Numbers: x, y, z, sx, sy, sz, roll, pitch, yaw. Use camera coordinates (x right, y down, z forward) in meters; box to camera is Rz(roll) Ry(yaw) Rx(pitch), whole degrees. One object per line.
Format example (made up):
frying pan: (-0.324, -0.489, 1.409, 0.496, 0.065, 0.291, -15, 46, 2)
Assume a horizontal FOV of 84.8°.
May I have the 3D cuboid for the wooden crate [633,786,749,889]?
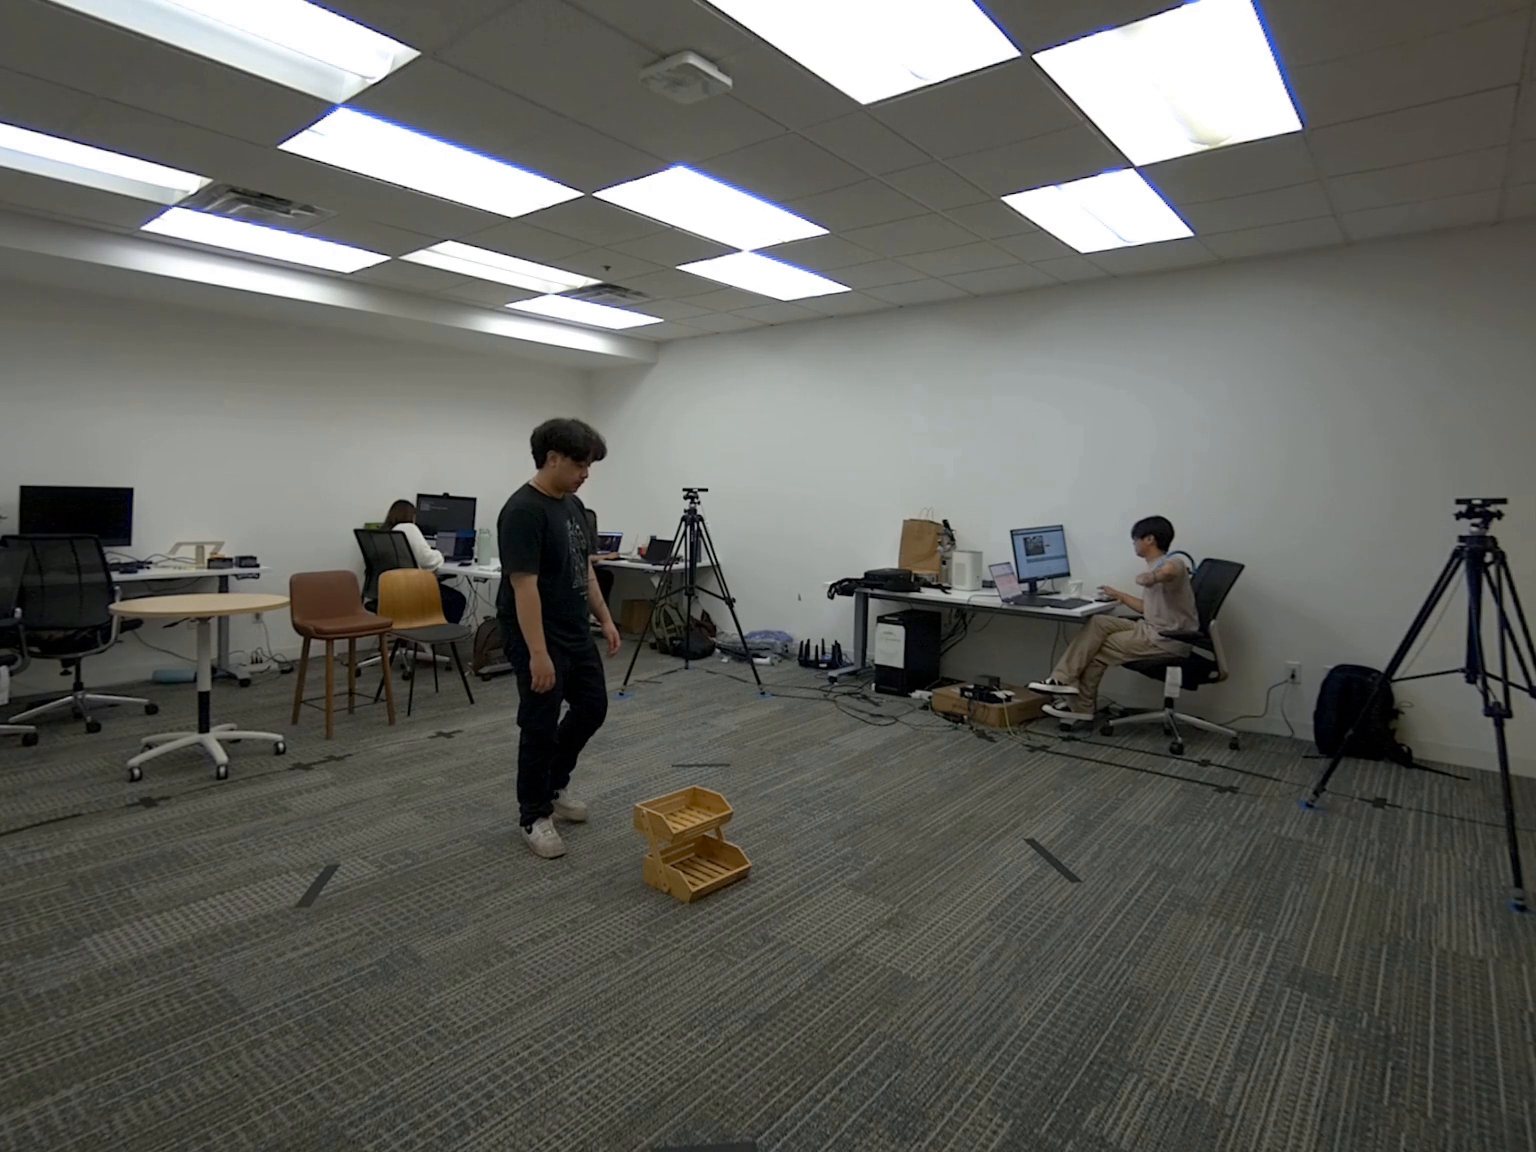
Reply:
wooden crate: (-0.276, 0.940, 3.038, 0.312, 0.272, 0.315, 3, 5, 42)
